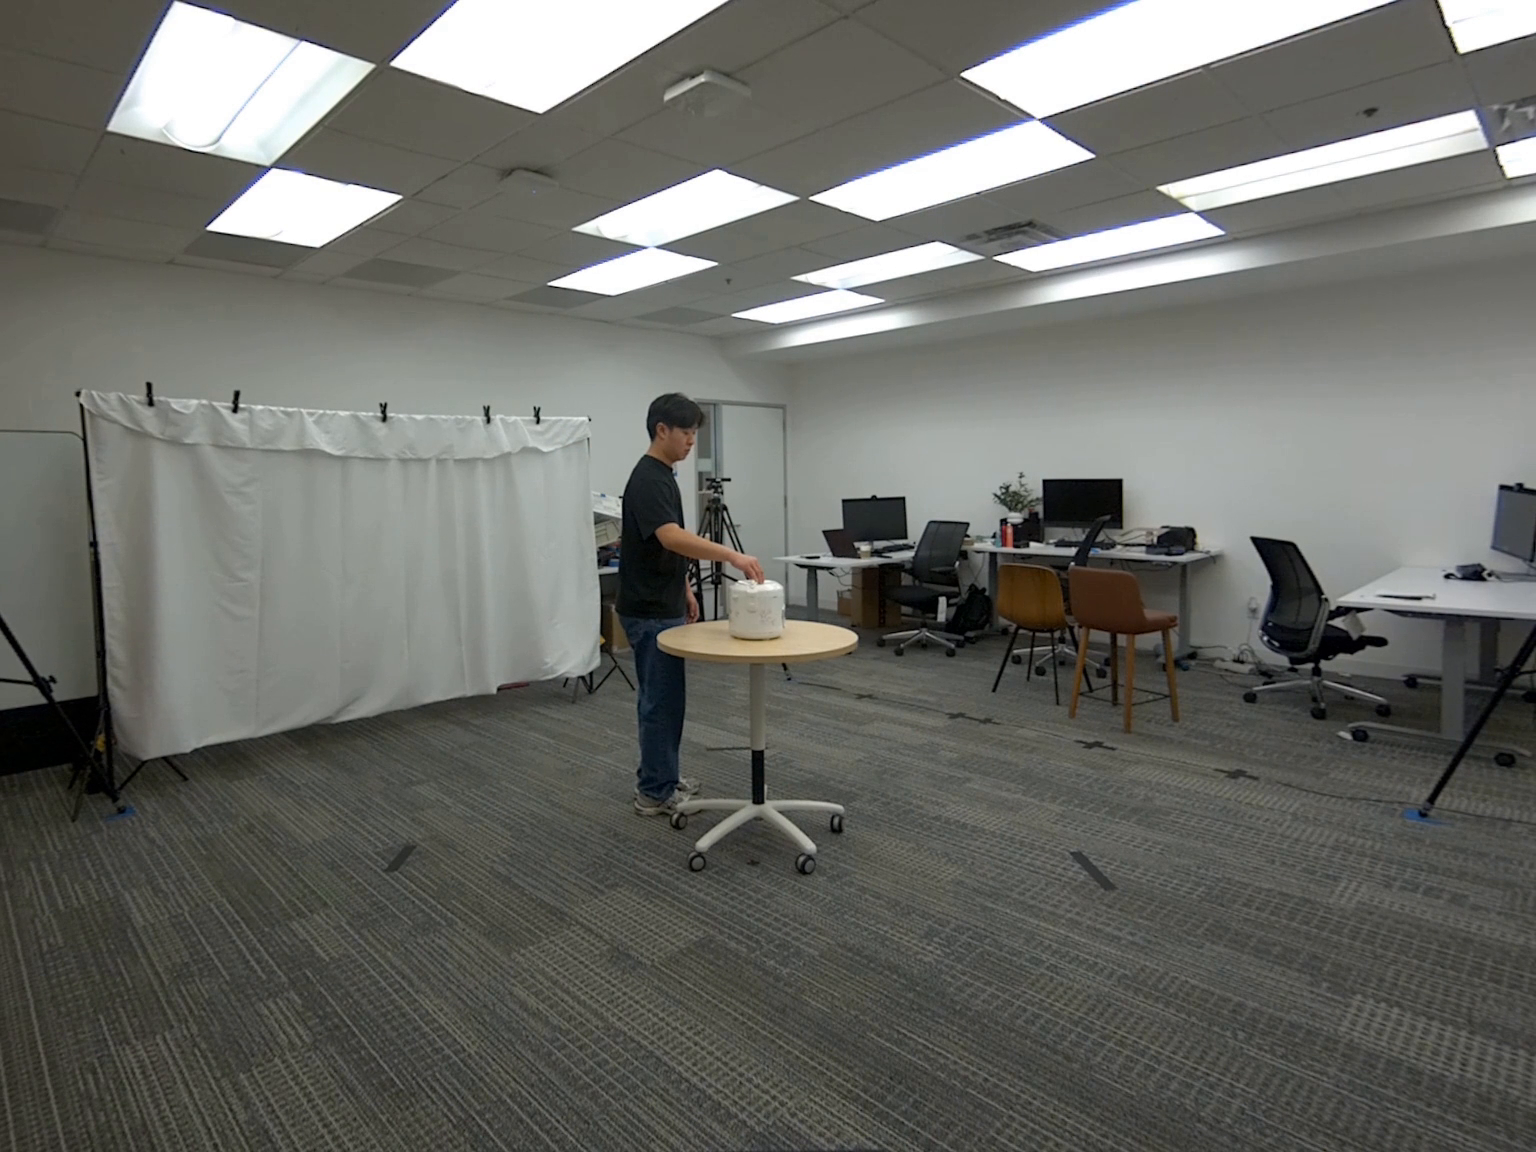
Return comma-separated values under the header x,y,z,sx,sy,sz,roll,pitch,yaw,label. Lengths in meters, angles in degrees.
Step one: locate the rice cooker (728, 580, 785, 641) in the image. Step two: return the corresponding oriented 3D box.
x,y,z,sx,sy,sz,roll,pitch,yaw,label
-0.042,0.113,3.243,0.220,0.232,0.219,-1,4,10,rice cooker
